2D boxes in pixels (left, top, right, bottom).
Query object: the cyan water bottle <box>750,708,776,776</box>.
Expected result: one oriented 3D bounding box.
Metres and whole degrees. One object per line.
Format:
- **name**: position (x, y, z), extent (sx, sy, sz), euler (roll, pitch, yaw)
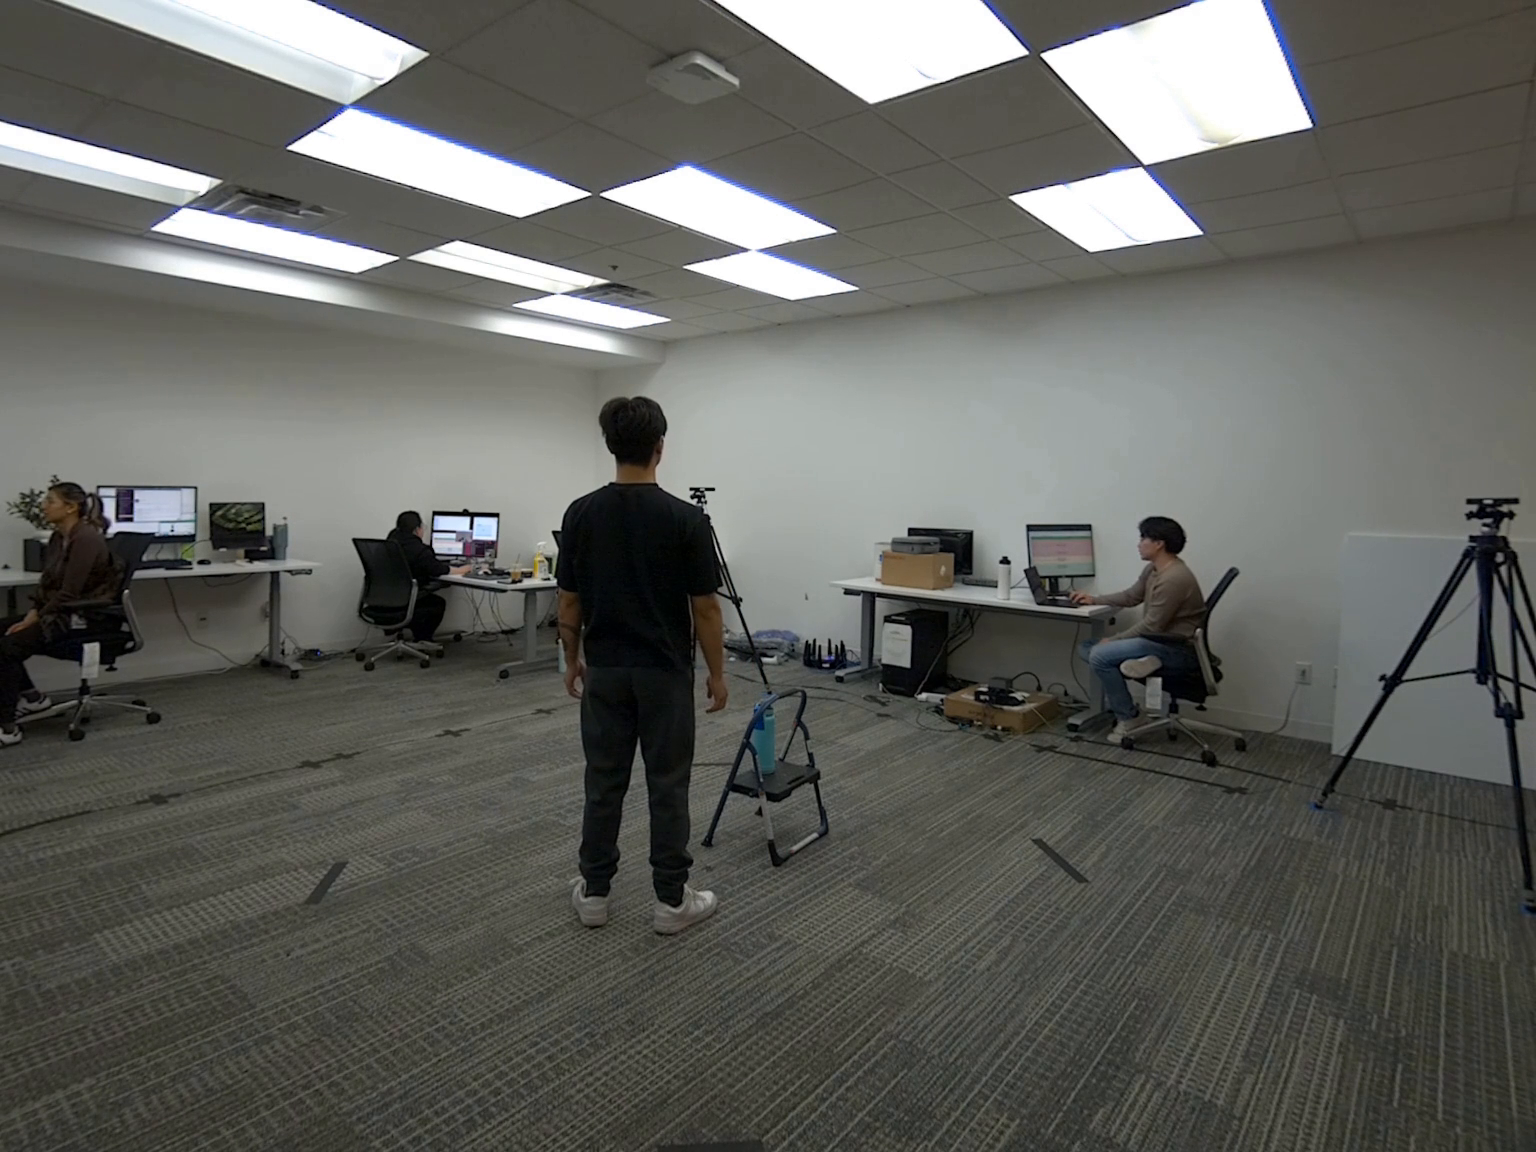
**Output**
- **cyan water bottle**: position (-0.021, 0.642, 3.415), extent (0.092, 0.283, 0.092), euler (2, 0, -2)
